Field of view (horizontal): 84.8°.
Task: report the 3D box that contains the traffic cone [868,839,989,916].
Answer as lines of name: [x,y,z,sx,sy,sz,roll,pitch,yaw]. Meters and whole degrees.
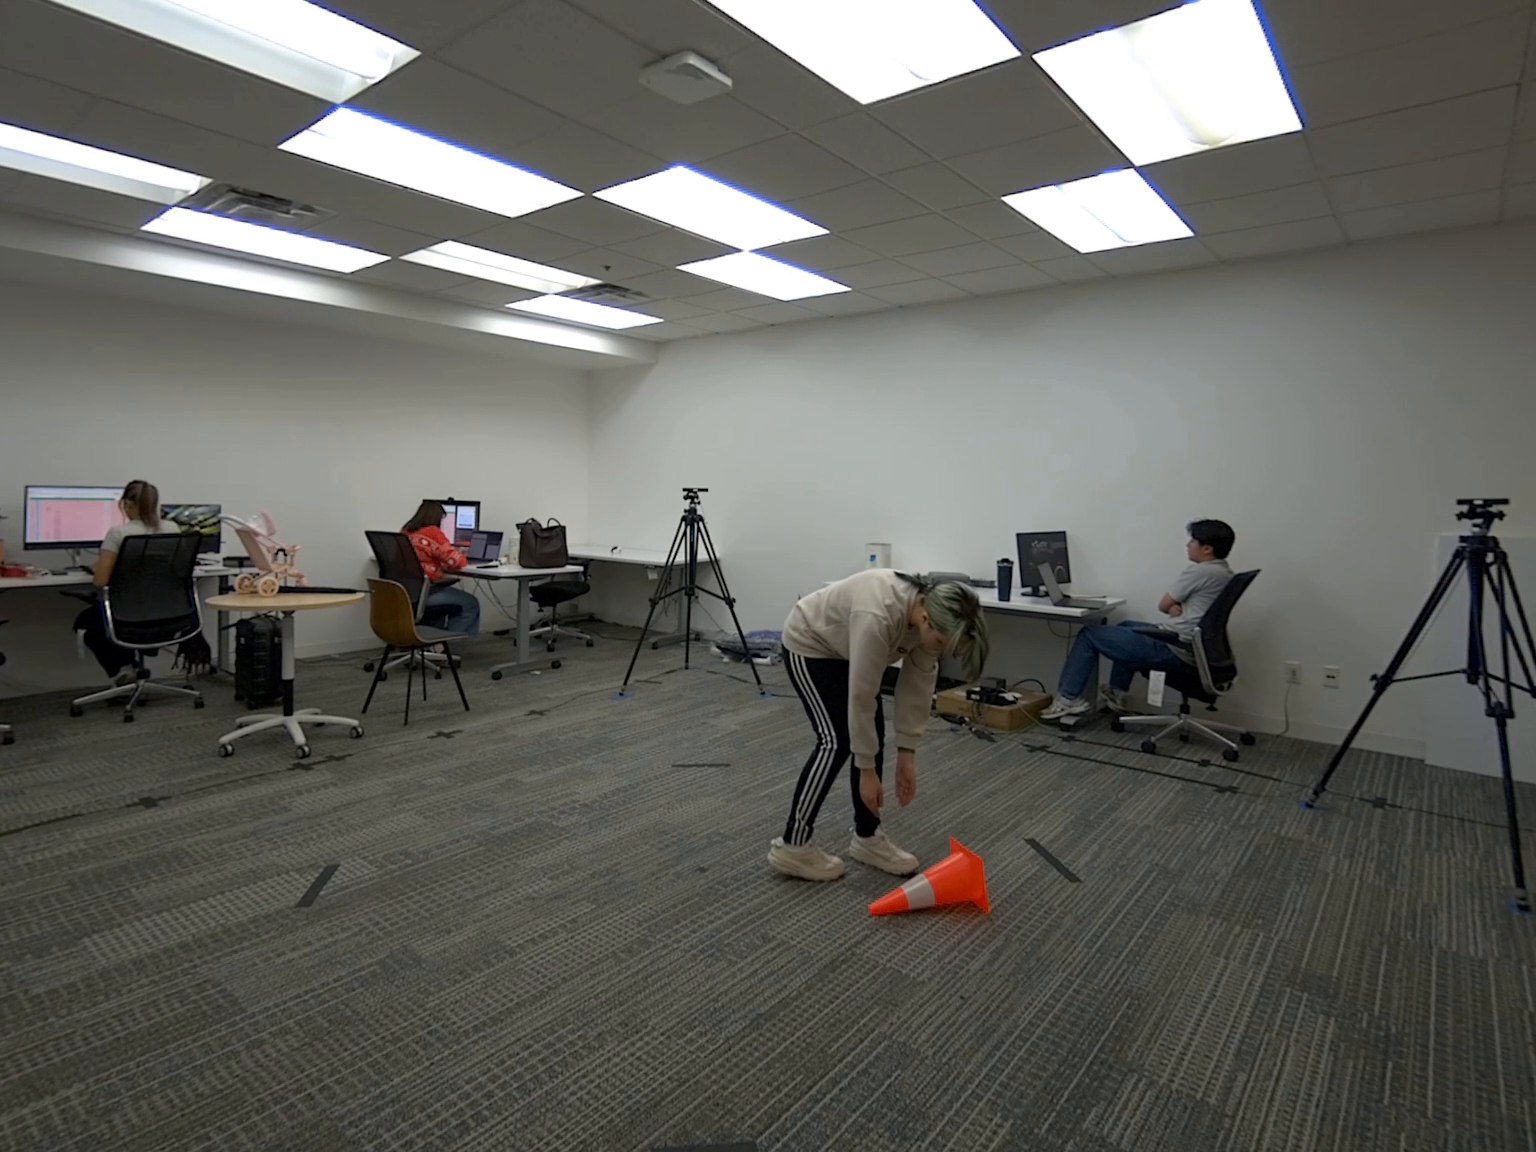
traffic cone: [0.506,1.065,2.844,0.378,0.202,0.209,-13,8,-17]
